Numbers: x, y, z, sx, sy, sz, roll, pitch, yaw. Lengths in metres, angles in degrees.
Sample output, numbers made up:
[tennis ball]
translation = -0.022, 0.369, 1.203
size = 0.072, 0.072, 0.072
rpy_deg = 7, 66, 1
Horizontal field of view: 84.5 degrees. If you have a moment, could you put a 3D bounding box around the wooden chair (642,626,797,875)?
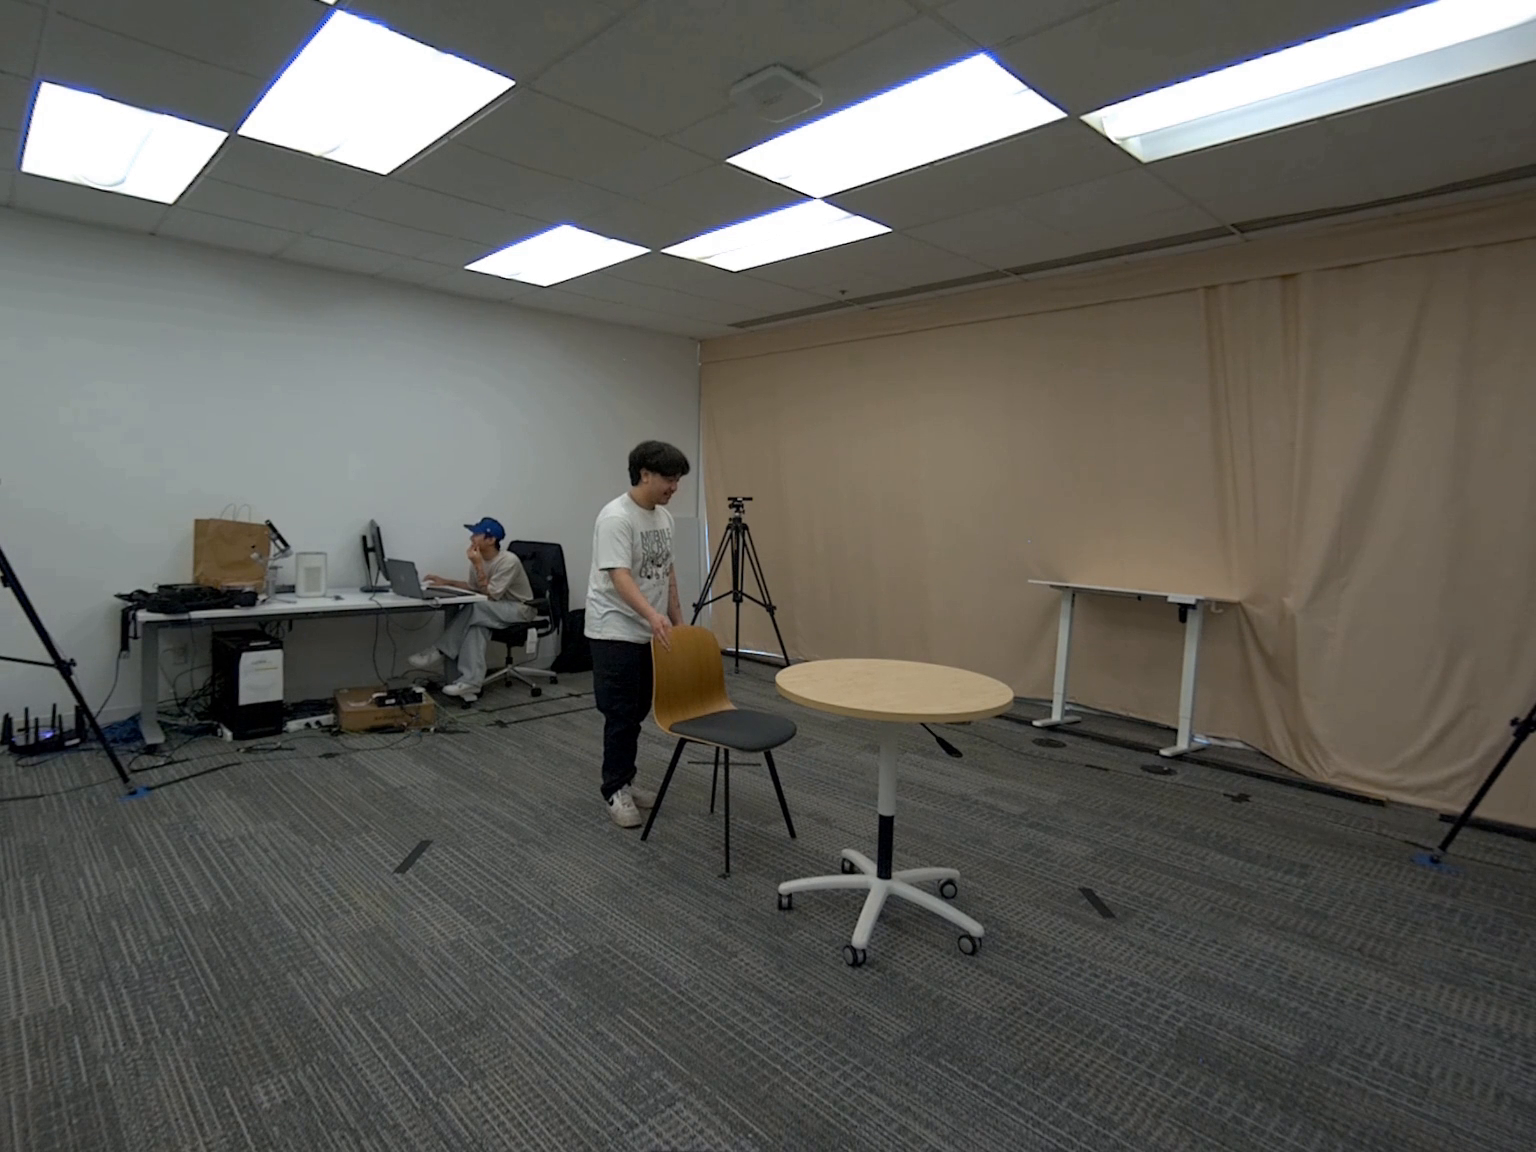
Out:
[wooden chair]
translation = -0.187, 0.652, 3.403
size = 0.535, 0.877, 0.467
rpy_deg = -2, 0, 38
